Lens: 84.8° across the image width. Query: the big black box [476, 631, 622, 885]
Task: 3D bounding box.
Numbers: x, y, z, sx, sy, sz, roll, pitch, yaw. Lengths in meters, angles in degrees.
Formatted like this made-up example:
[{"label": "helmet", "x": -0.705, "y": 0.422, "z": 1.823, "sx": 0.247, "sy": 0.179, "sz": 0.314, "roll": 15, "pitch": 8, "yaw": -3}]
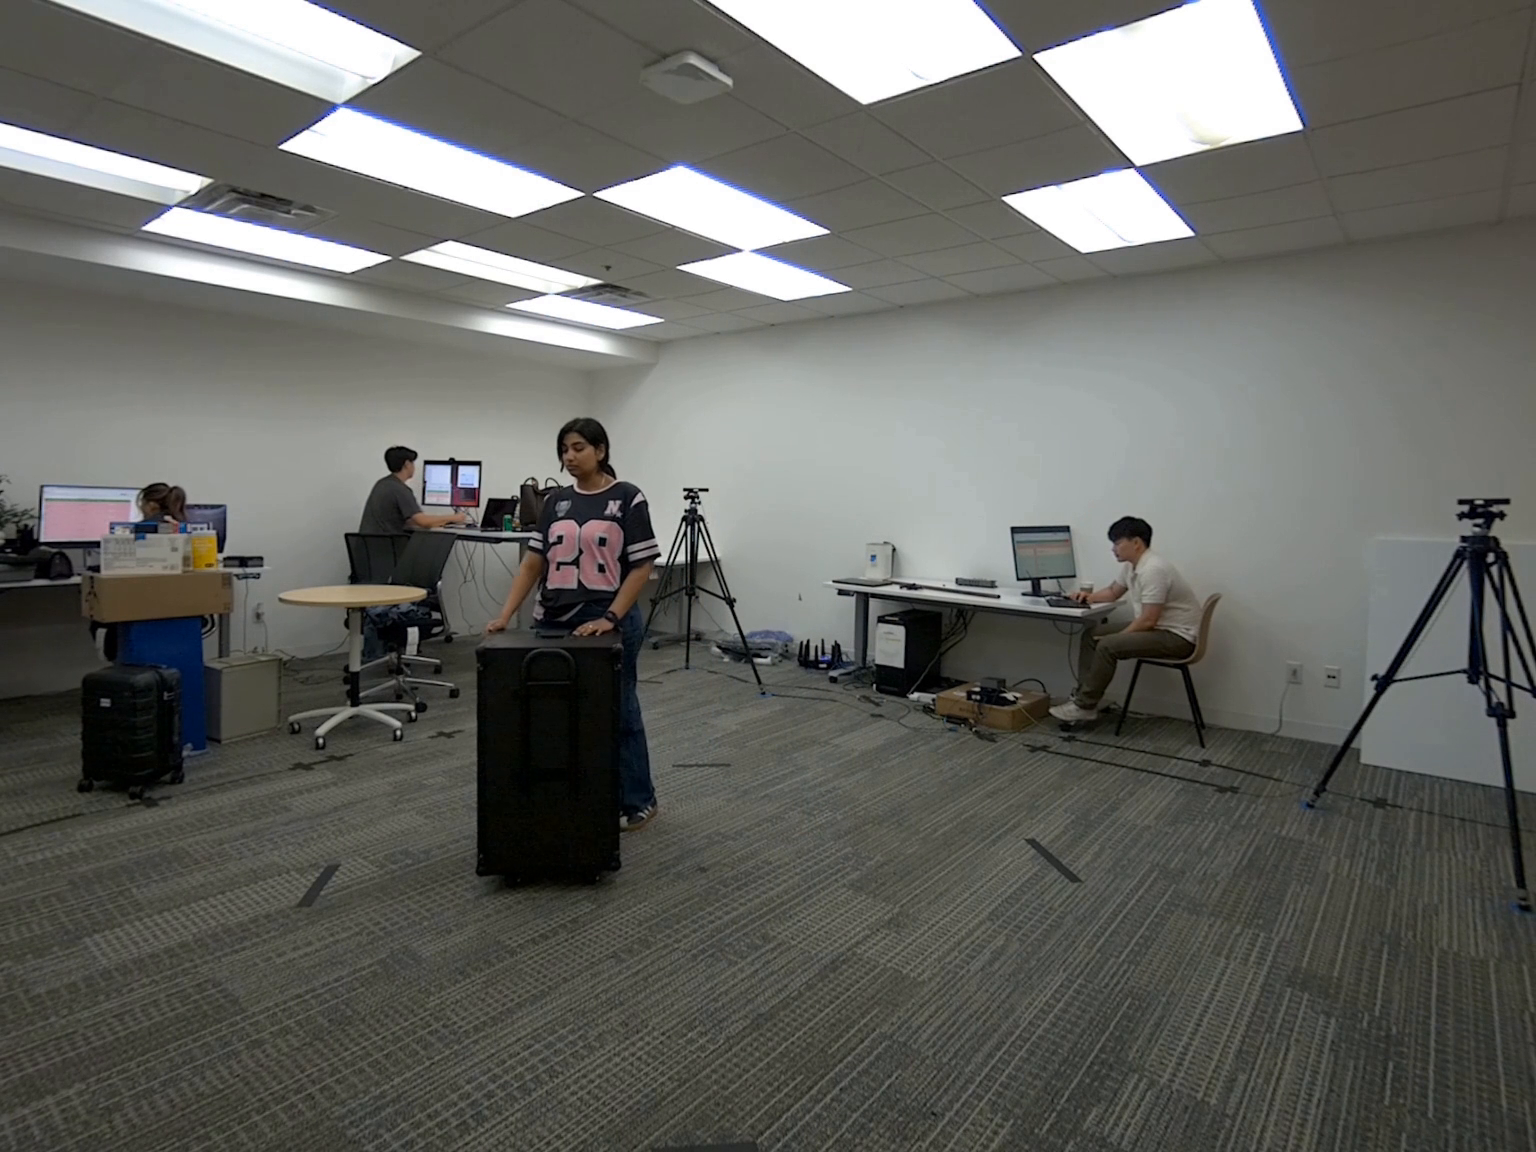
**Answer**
[{"label": "big black box", "x": -0.779, "y": 0.641, "z": 3.041, "sx": 0.518, "sy": 0.865, "sz": 0.391, "roll": 1, "pitch": 4, "yaw": -10}]
